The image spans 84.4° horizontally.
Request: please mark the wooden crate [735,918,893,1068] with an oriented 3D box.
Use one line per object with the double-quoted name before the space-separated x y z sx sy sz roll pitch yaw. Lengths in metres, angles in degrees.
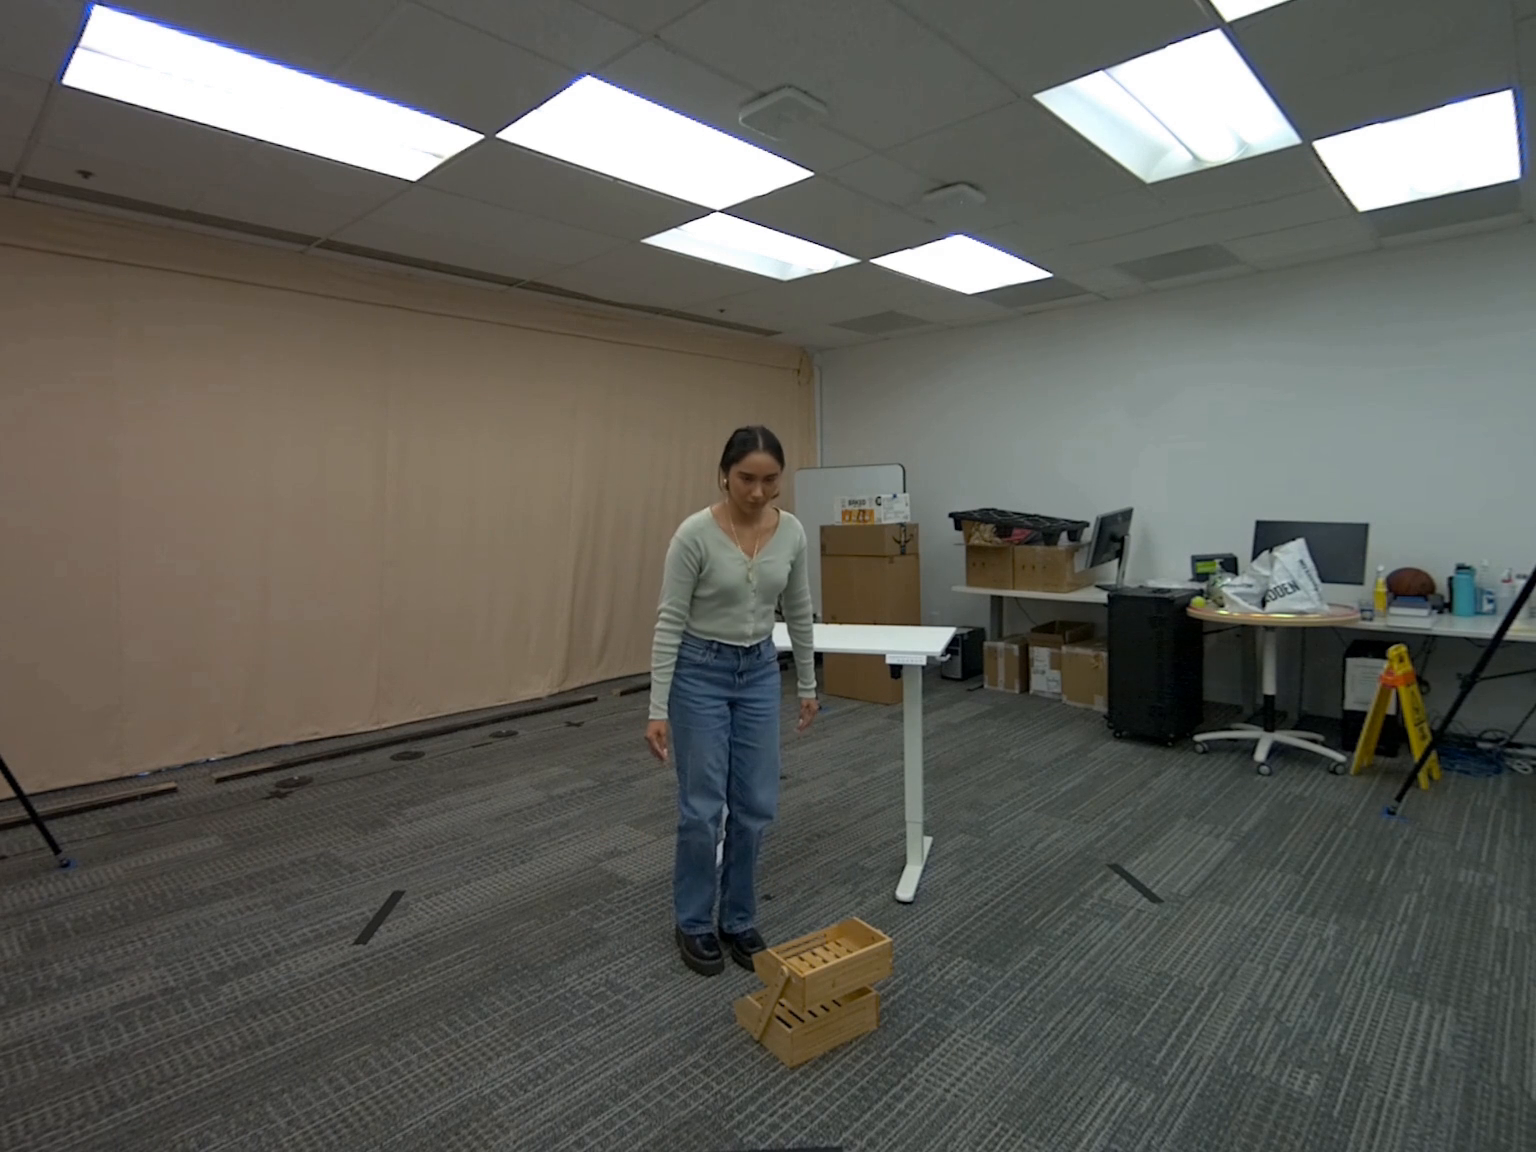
"wooden crate" 0.122 1.069 2.225 0.315 0.272 0.312 -3 5 -35
